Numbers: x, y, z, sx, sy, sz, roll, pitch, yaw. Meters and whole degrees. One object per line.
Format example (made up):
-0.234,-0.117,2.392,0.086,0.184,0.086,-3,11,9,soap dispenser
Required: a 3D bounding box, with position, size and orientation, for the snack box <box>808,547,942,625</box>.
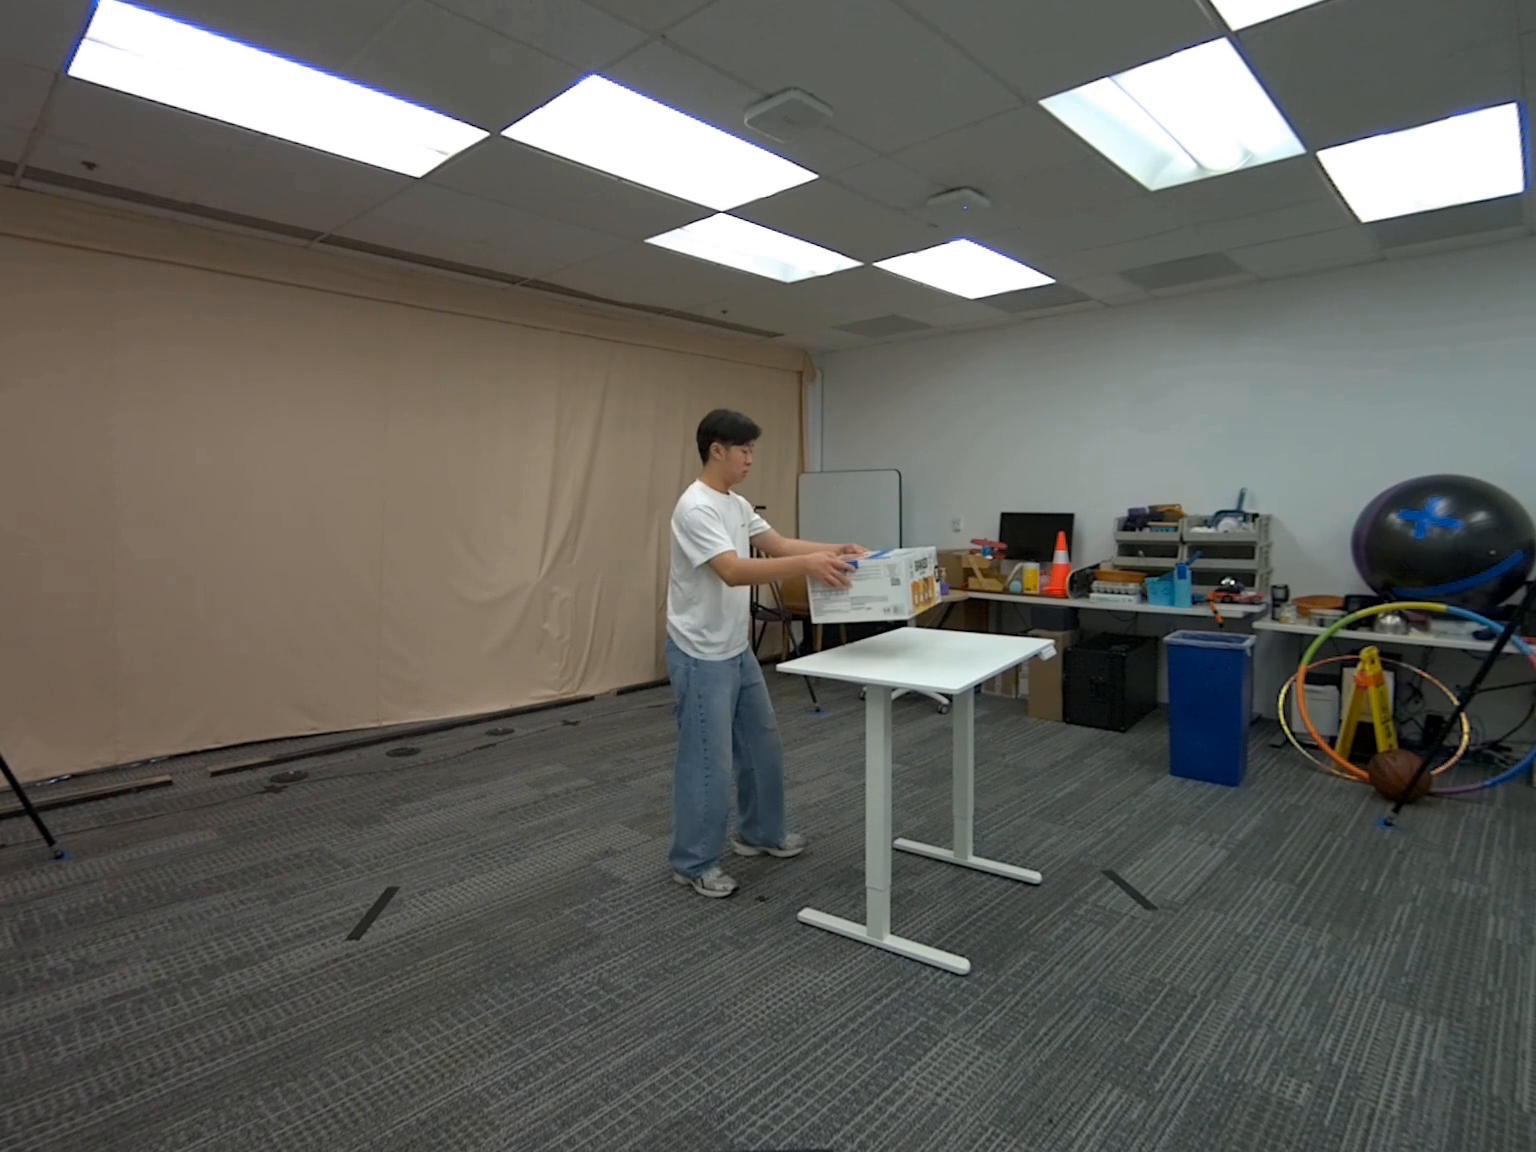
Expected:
0.376,0.031,2.930,0.349,0.205,0.395,-6,3,29,snack box
